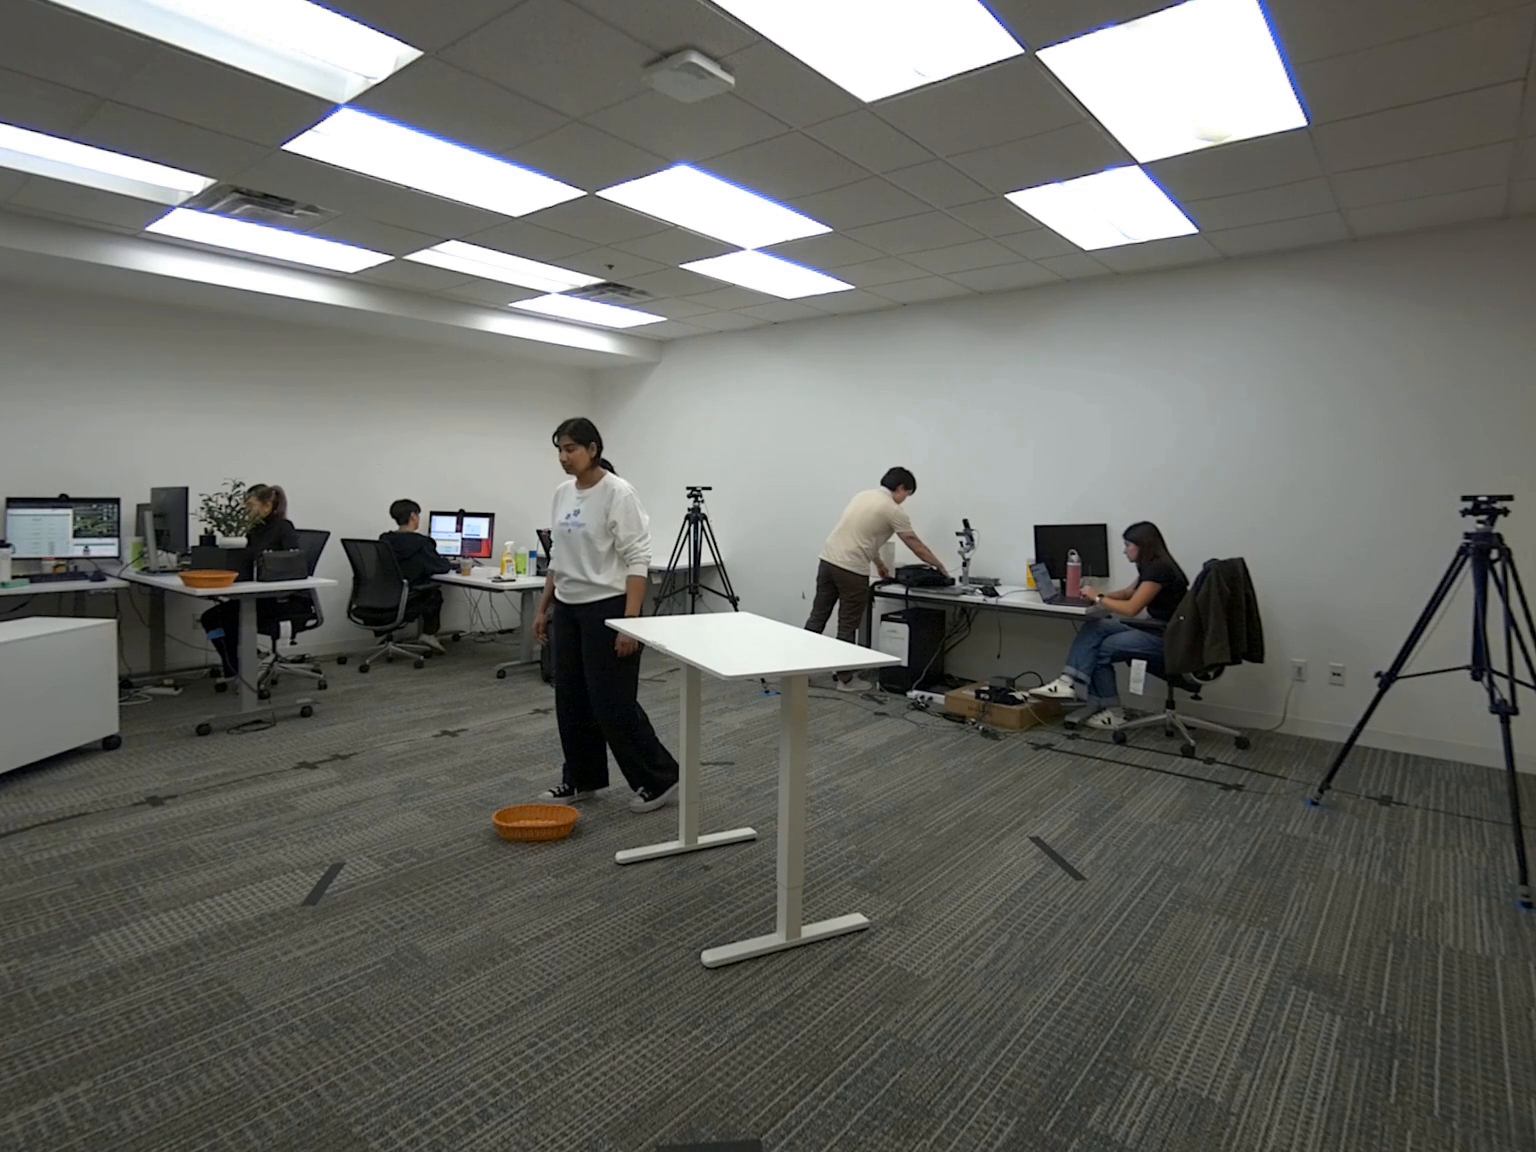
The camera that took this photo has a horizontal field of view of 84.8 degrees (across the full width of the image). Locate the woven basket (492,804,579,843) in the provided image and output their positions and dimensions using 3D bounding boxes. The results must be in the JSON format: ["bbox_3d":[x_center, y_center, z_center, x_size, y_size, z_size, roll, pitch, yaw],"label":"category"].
[{"bbox_3d":[-0.933,0.983,3.414,0.351,0.073,0.253,0,4,1],"label":"woven basket"}]
